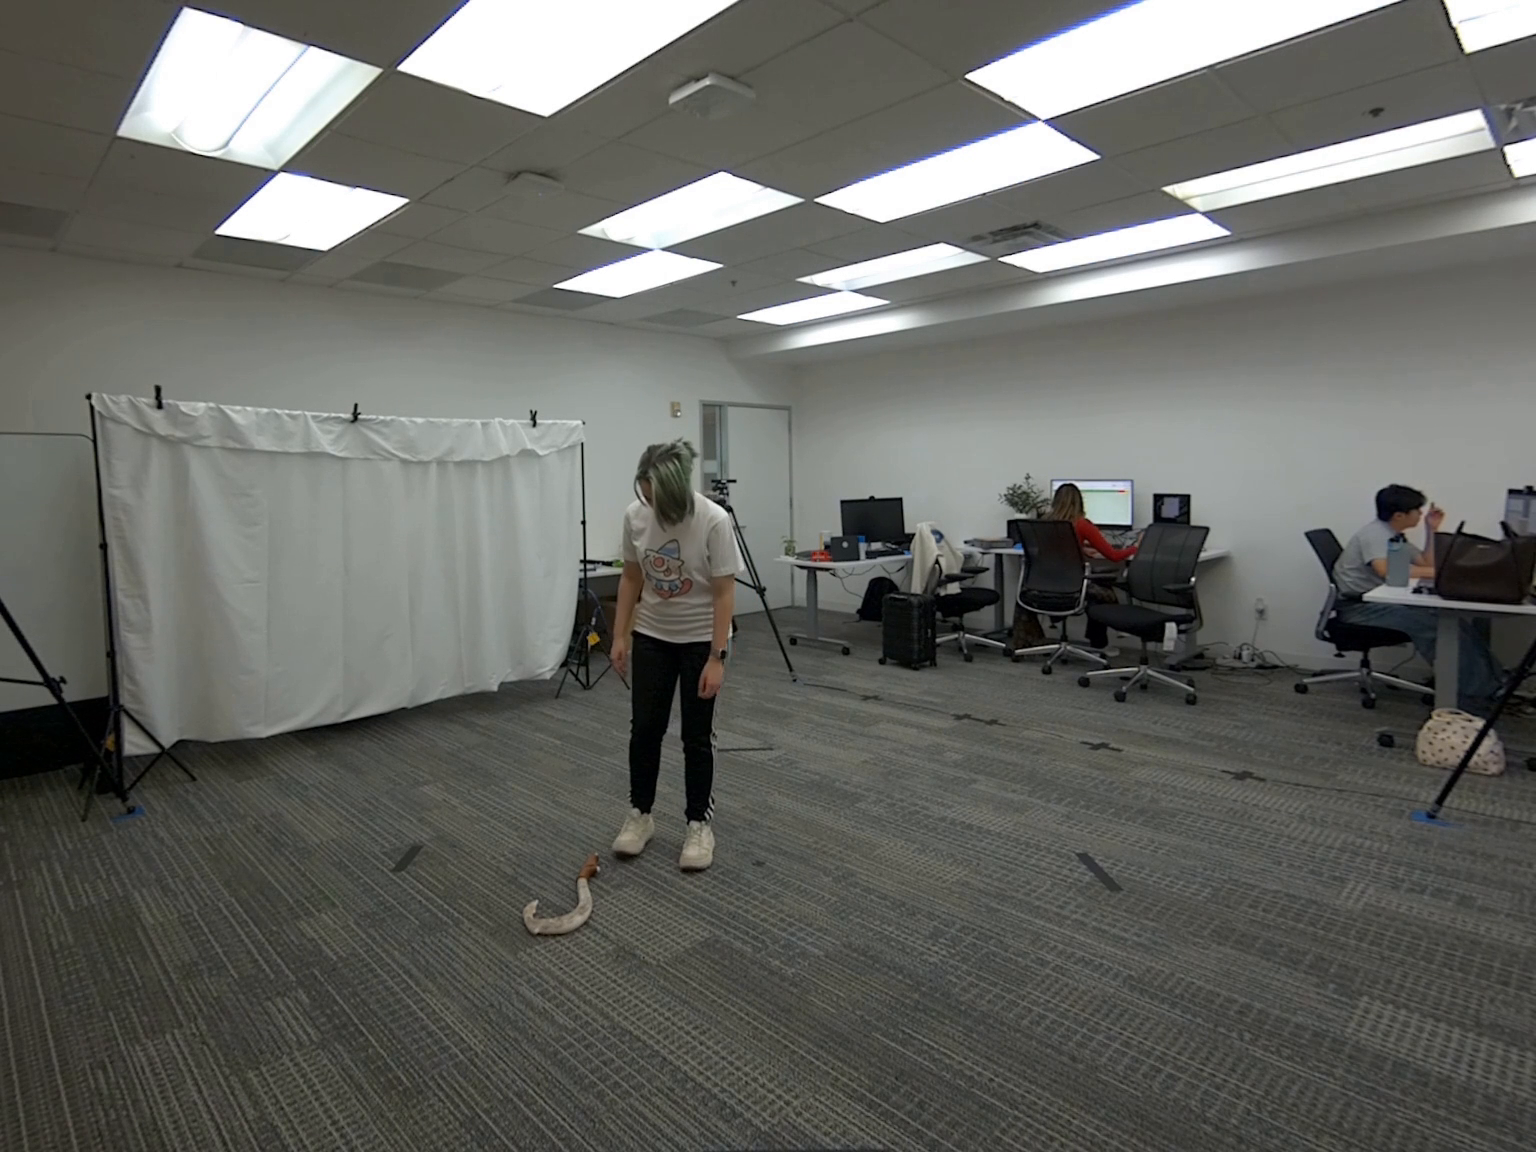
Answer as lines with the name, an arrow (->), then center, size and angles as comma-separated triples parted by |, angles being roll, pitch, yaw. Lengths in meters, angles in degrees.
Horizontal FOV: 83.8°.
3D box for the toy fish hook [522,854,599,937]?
toy fish hook -> -0.683, 1.065, 2.885 | 0.225, 0.048, 0.509 | -1, 6, -1
